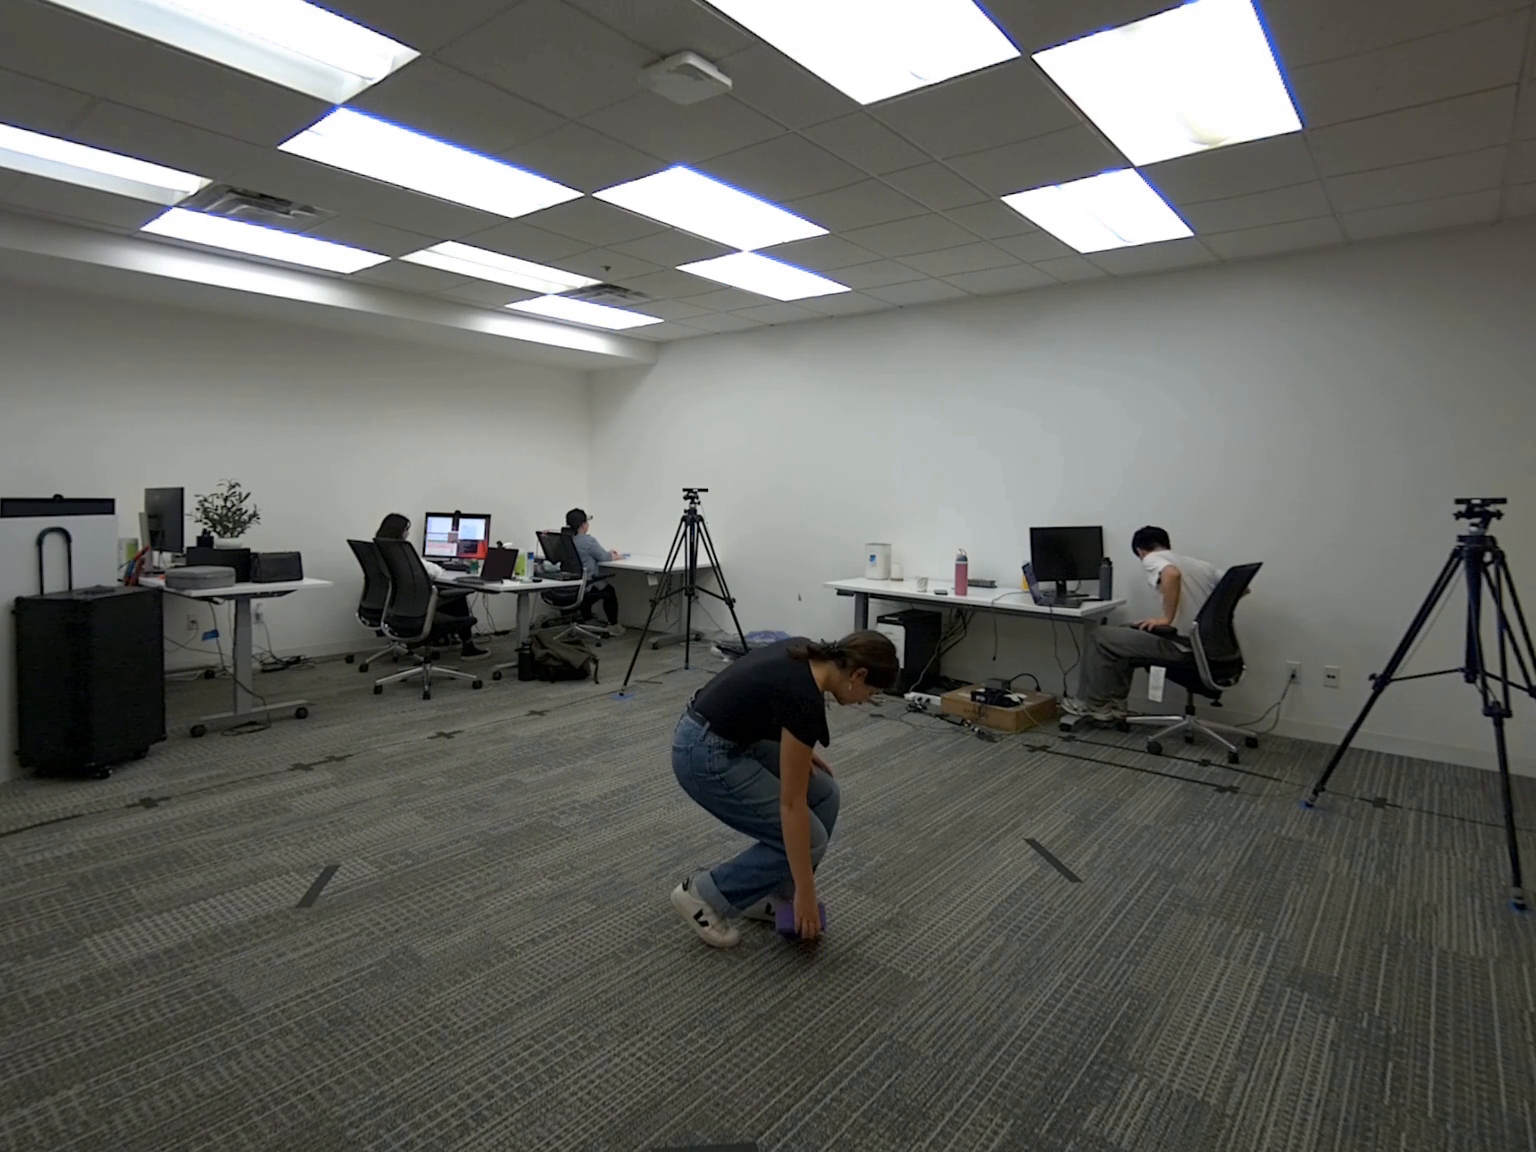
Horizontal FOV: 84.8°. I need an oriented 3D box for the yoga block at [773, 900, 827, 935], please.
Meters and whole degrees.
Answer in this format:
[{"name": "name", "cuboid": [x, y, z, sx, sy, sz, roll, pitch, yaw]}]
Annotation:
[{"name": "yoga block", "cuboid": [0.097, 1.029, 2.585, 0.150, 0.078, 0.224, 2, -22, 3]}]
